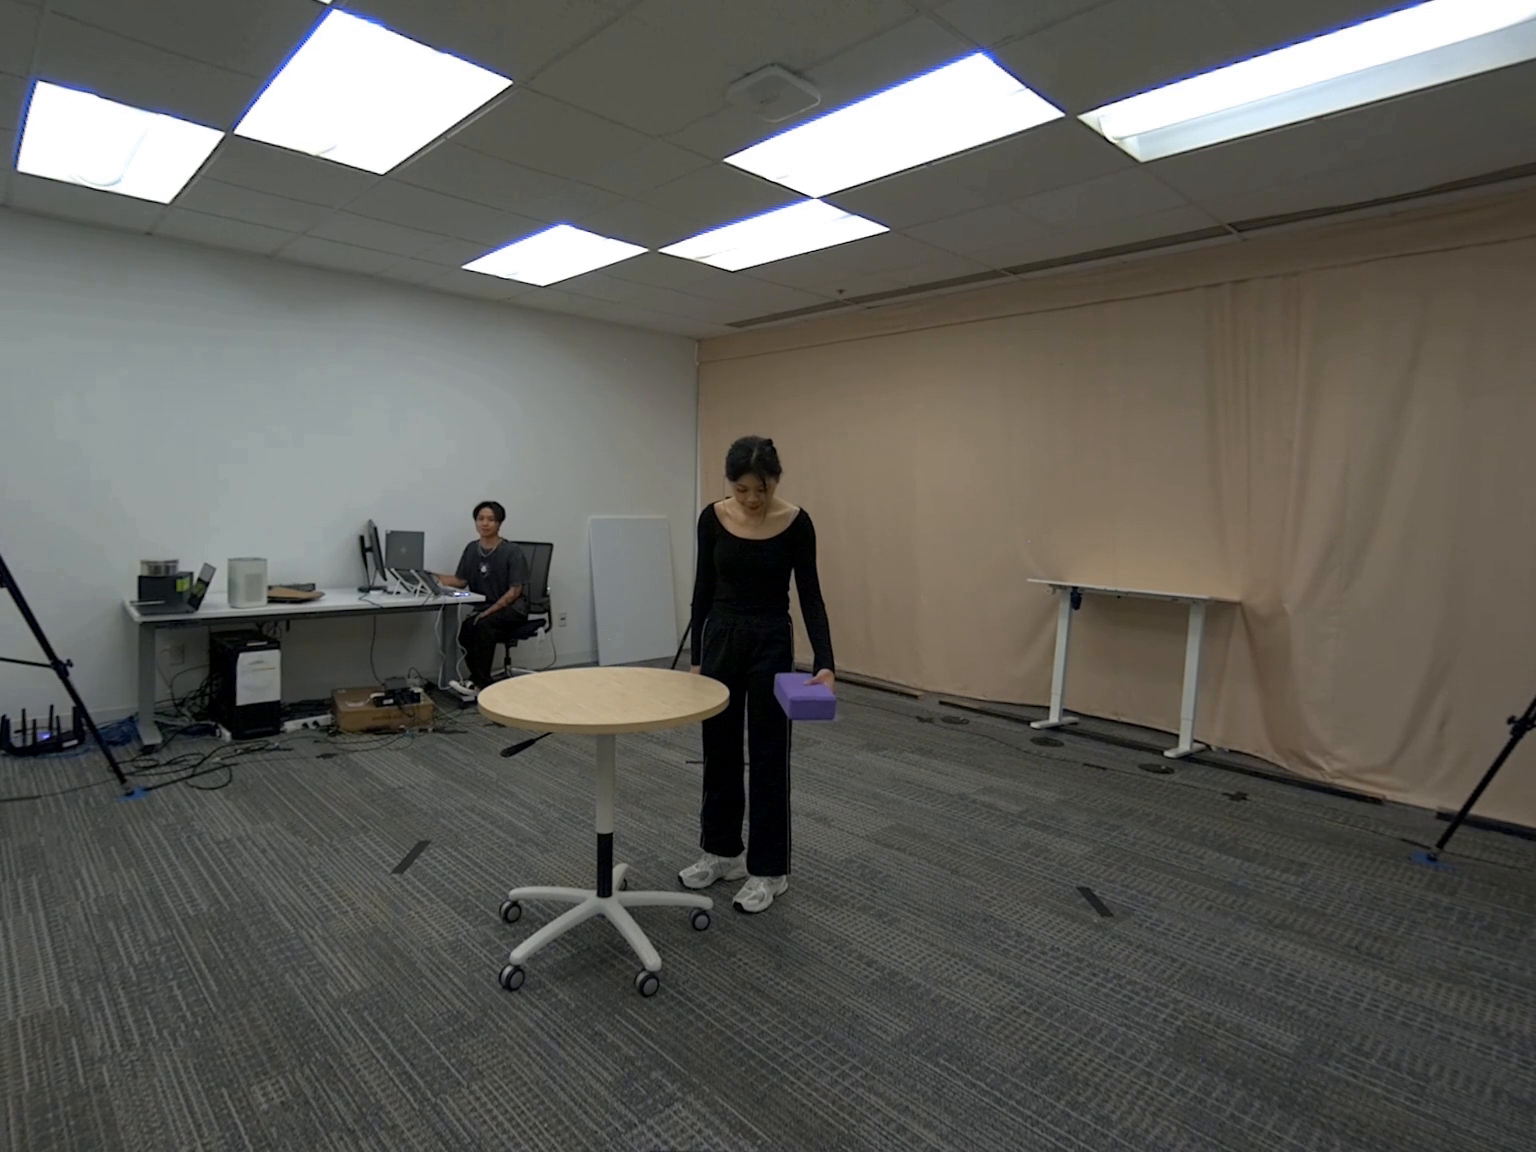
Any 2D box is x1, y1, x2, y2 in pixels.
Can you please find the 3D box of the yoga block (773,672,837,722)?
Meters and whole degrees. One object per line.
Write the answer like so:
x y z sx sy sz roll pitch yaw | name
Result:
0.106 0.381 2.640 0.148 0.076 0.233 1 11 -11 | yoga block
